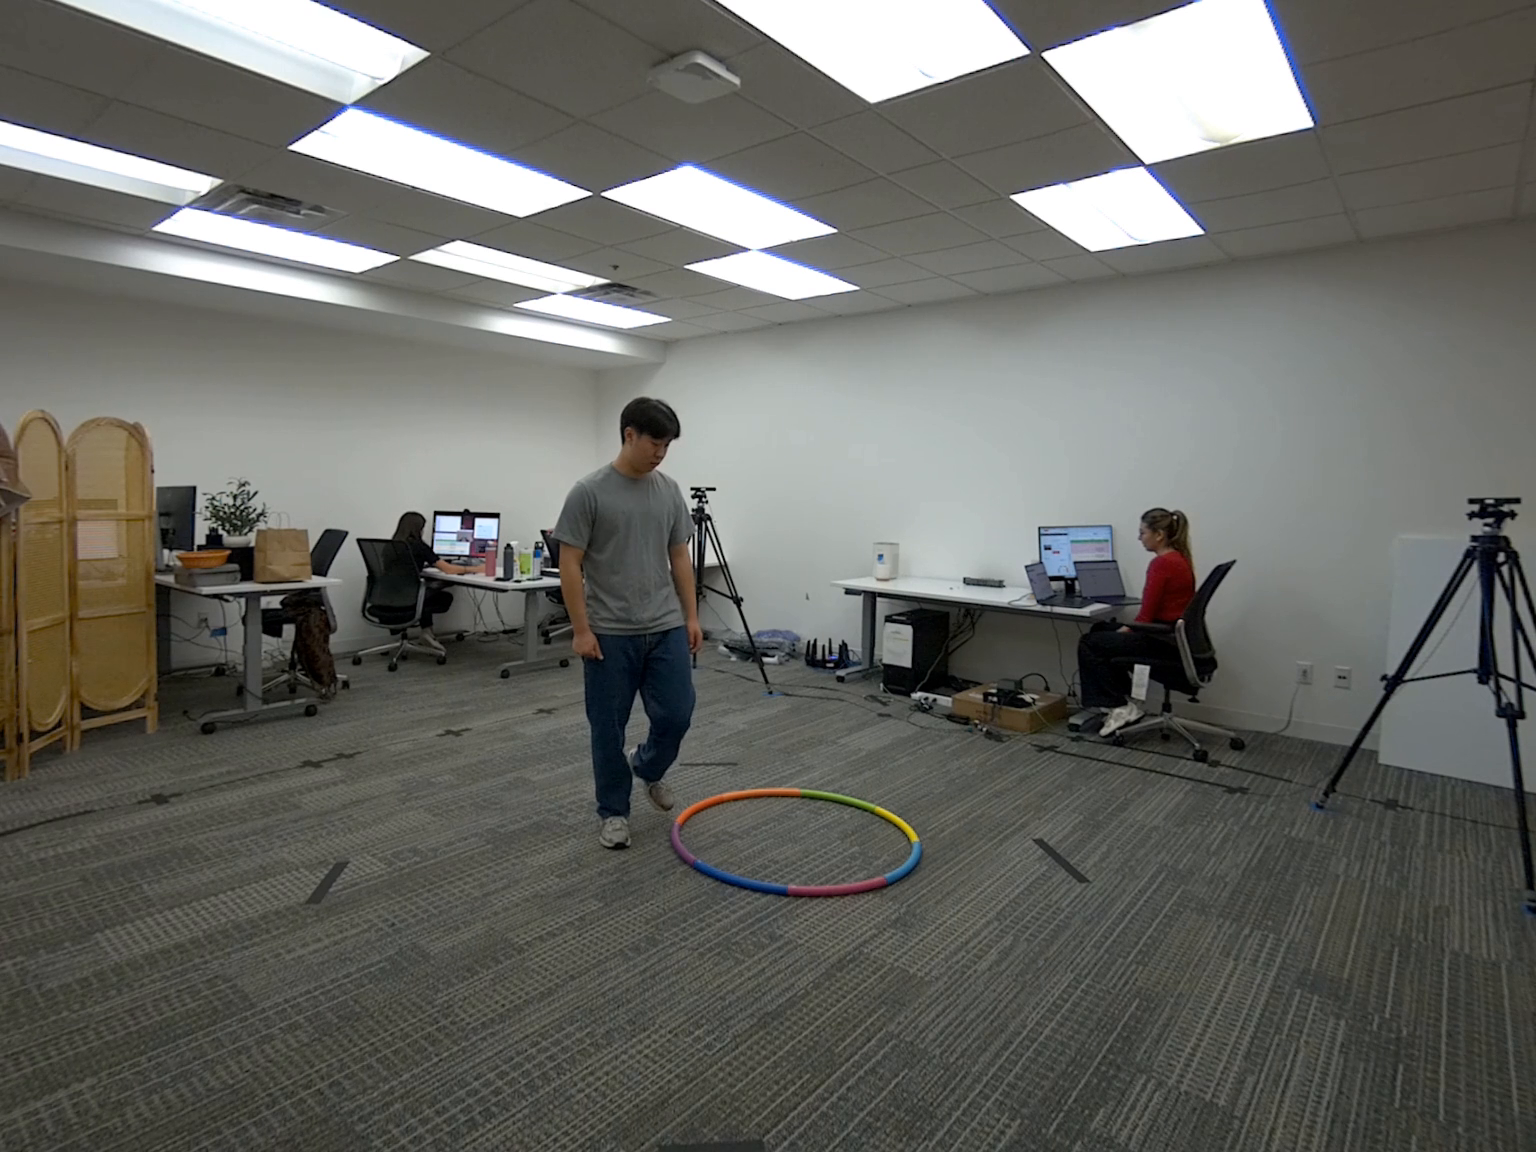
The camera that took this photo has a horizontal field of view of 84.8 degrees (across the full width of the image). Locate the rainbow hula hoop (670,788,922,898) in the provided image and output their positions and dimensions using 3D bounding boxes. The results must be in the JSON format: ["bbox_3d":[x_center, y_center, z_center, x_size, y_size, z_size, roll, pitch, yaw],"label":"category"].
[{"bbox_3d":[0.093,1.016,3.380,0.978,0.035,0.984,1,6,-2],"label":"rainbow hula hoop"}]
